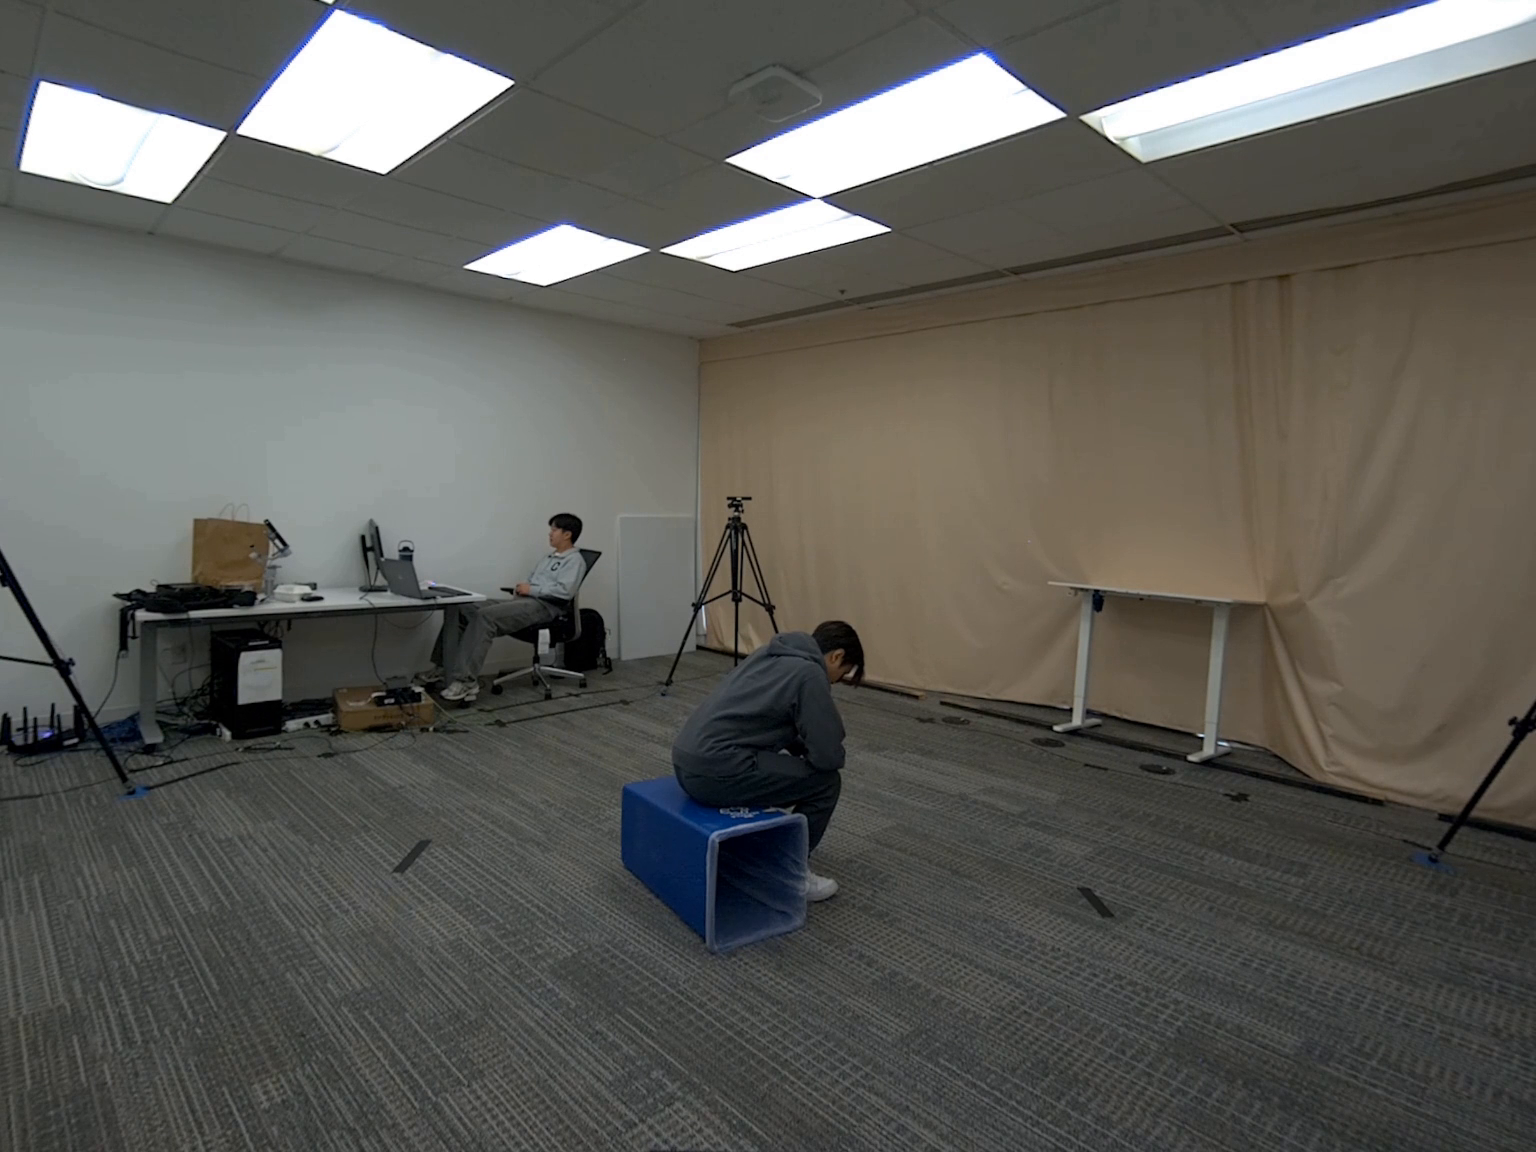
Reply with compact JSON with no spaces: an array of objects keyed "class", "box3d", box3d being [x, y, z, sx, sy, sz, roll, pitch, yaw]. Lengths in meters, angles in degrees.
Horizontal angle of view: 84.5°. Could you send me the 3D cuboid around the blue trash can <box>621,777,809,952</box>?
[{"class":"blue trash can","box3d":[-0.237,0.951,2.938,0.366,0.378,0.730,-1,2,-35]}]
